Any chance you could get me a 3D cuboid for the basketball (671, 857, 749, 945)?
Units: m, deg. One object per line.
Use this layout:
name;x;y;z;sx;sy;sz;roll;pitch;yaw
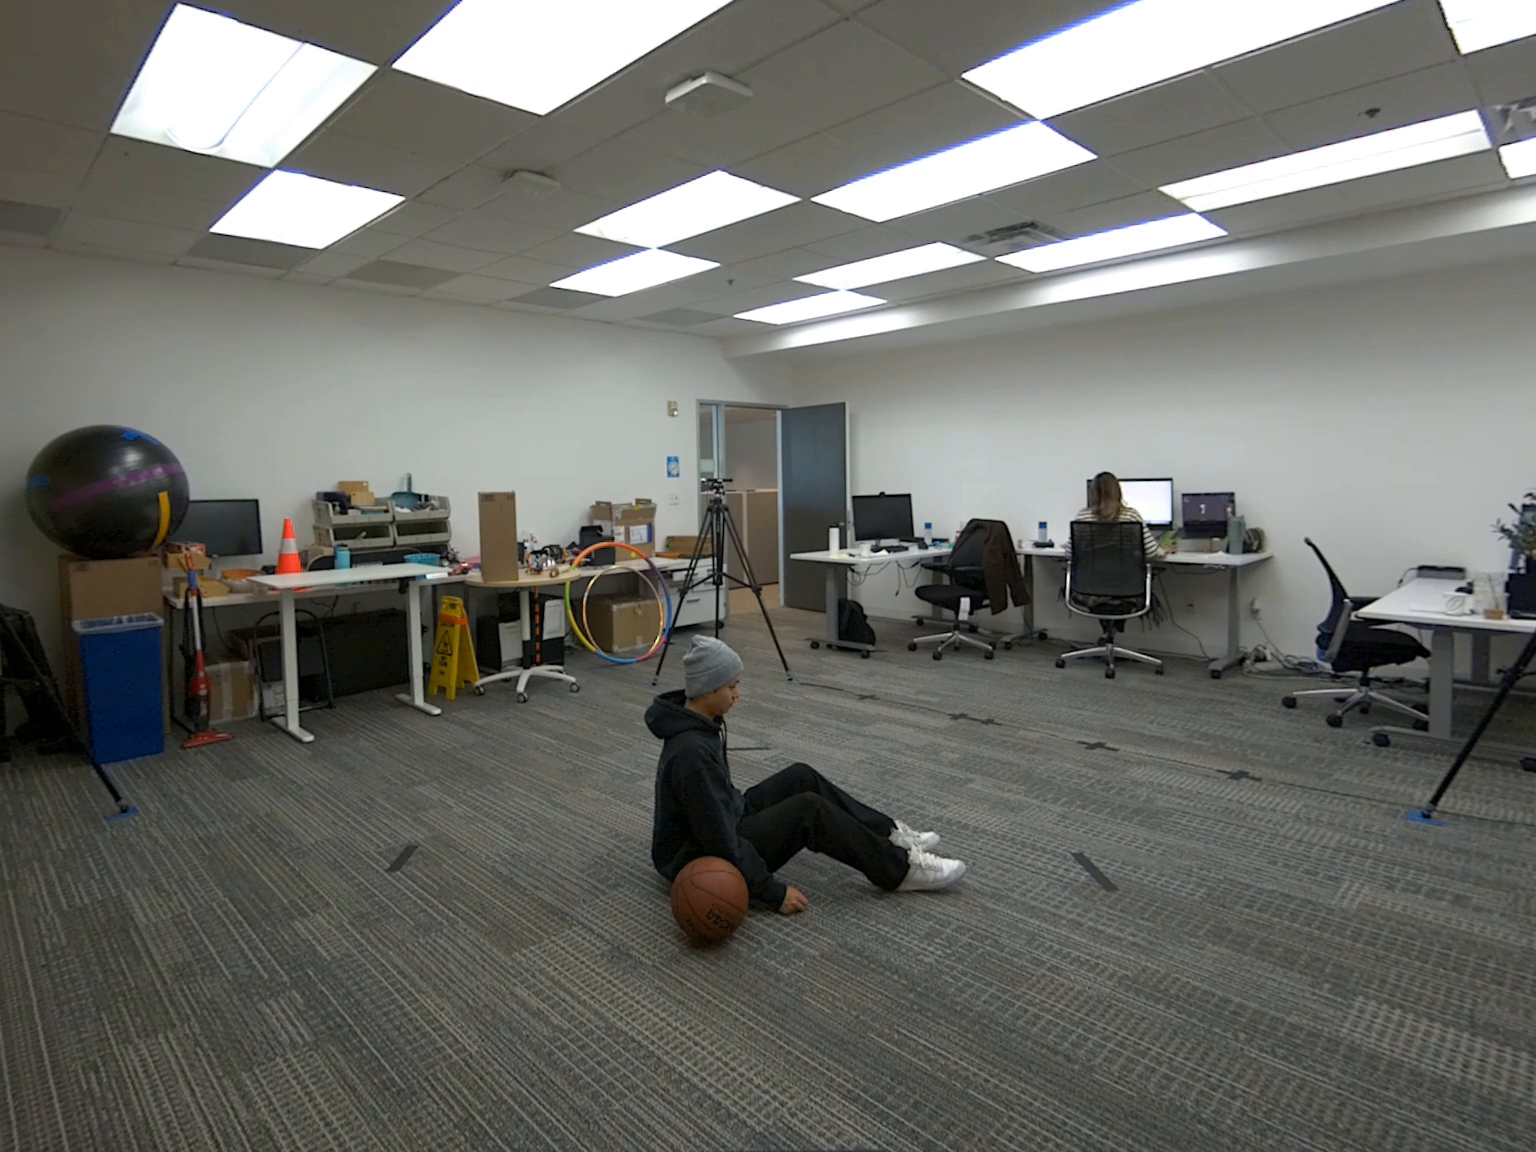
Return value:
basketball;-0.184;0.982;2.615;0.236;0.235;0.237;-1;5;-2
